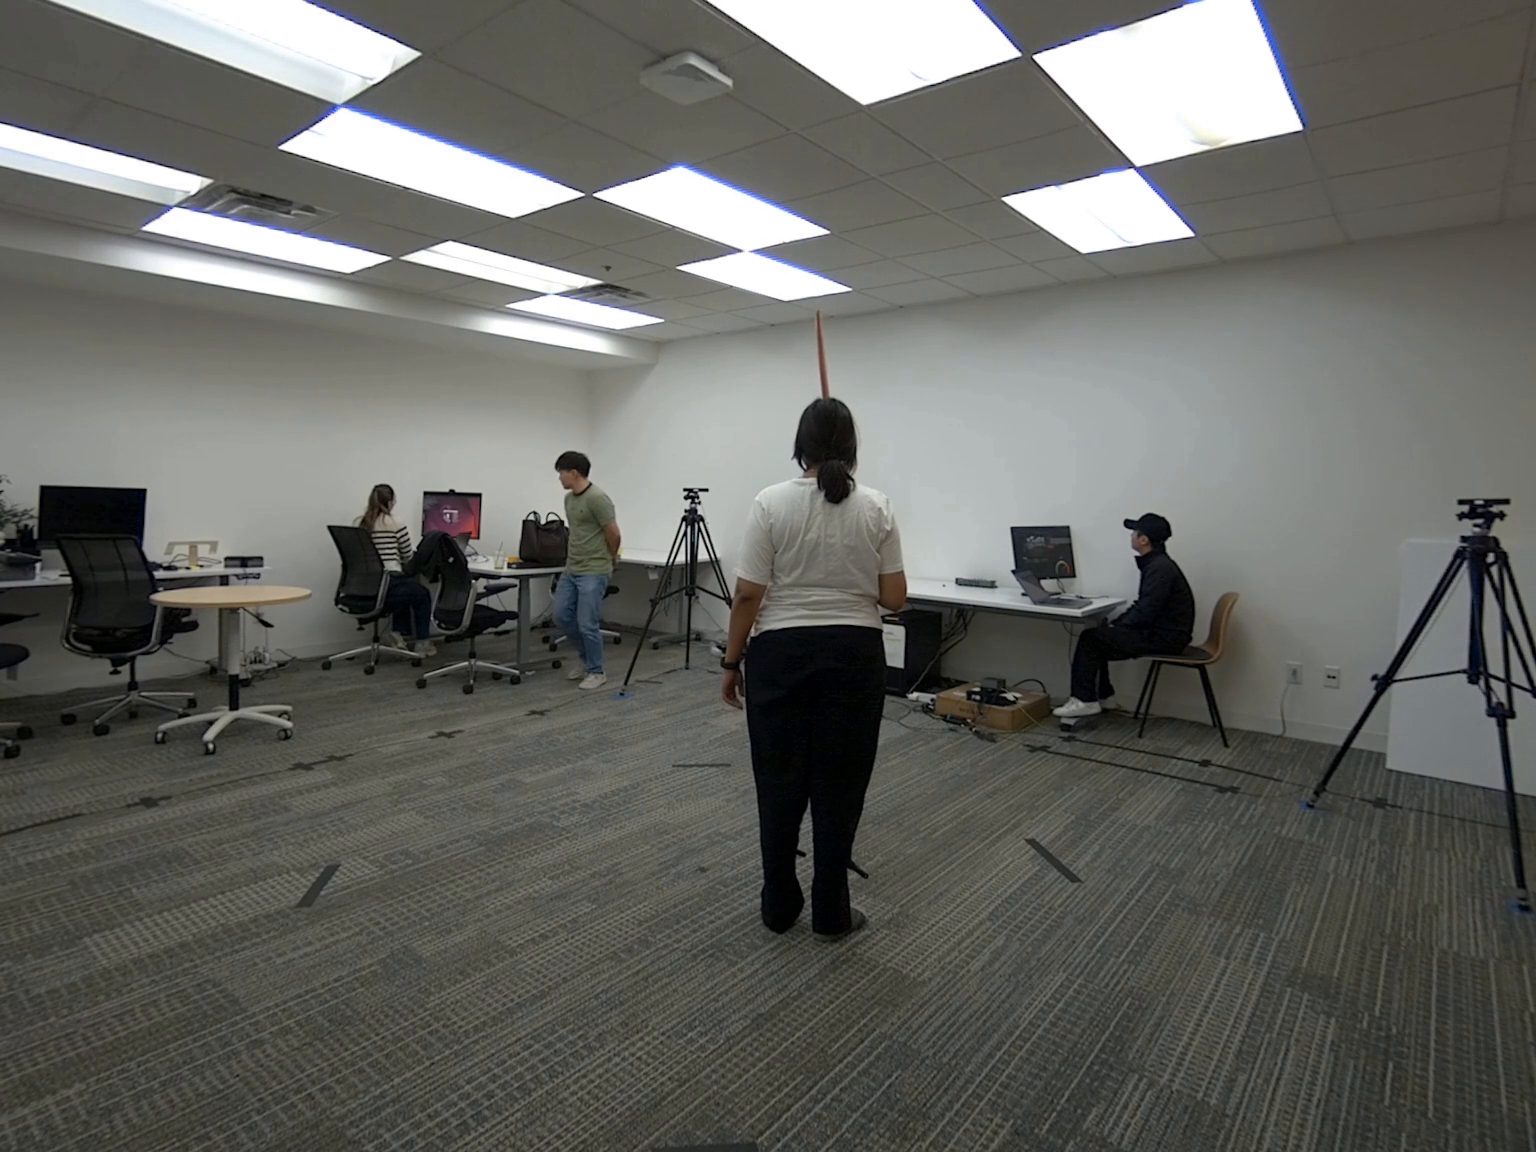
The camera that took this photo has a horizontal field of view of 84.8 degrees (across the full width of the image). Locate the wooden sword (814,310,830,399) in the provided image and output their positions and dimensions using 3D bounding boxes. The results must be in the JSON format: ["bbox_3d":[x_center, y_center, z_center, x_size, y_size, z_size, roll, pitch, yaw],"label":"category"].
[{"bbox_3d":[0.228,-0.500,3.088,0.050,1.042,0.024,8,-21,-33],"label":"wooden sword"}]
